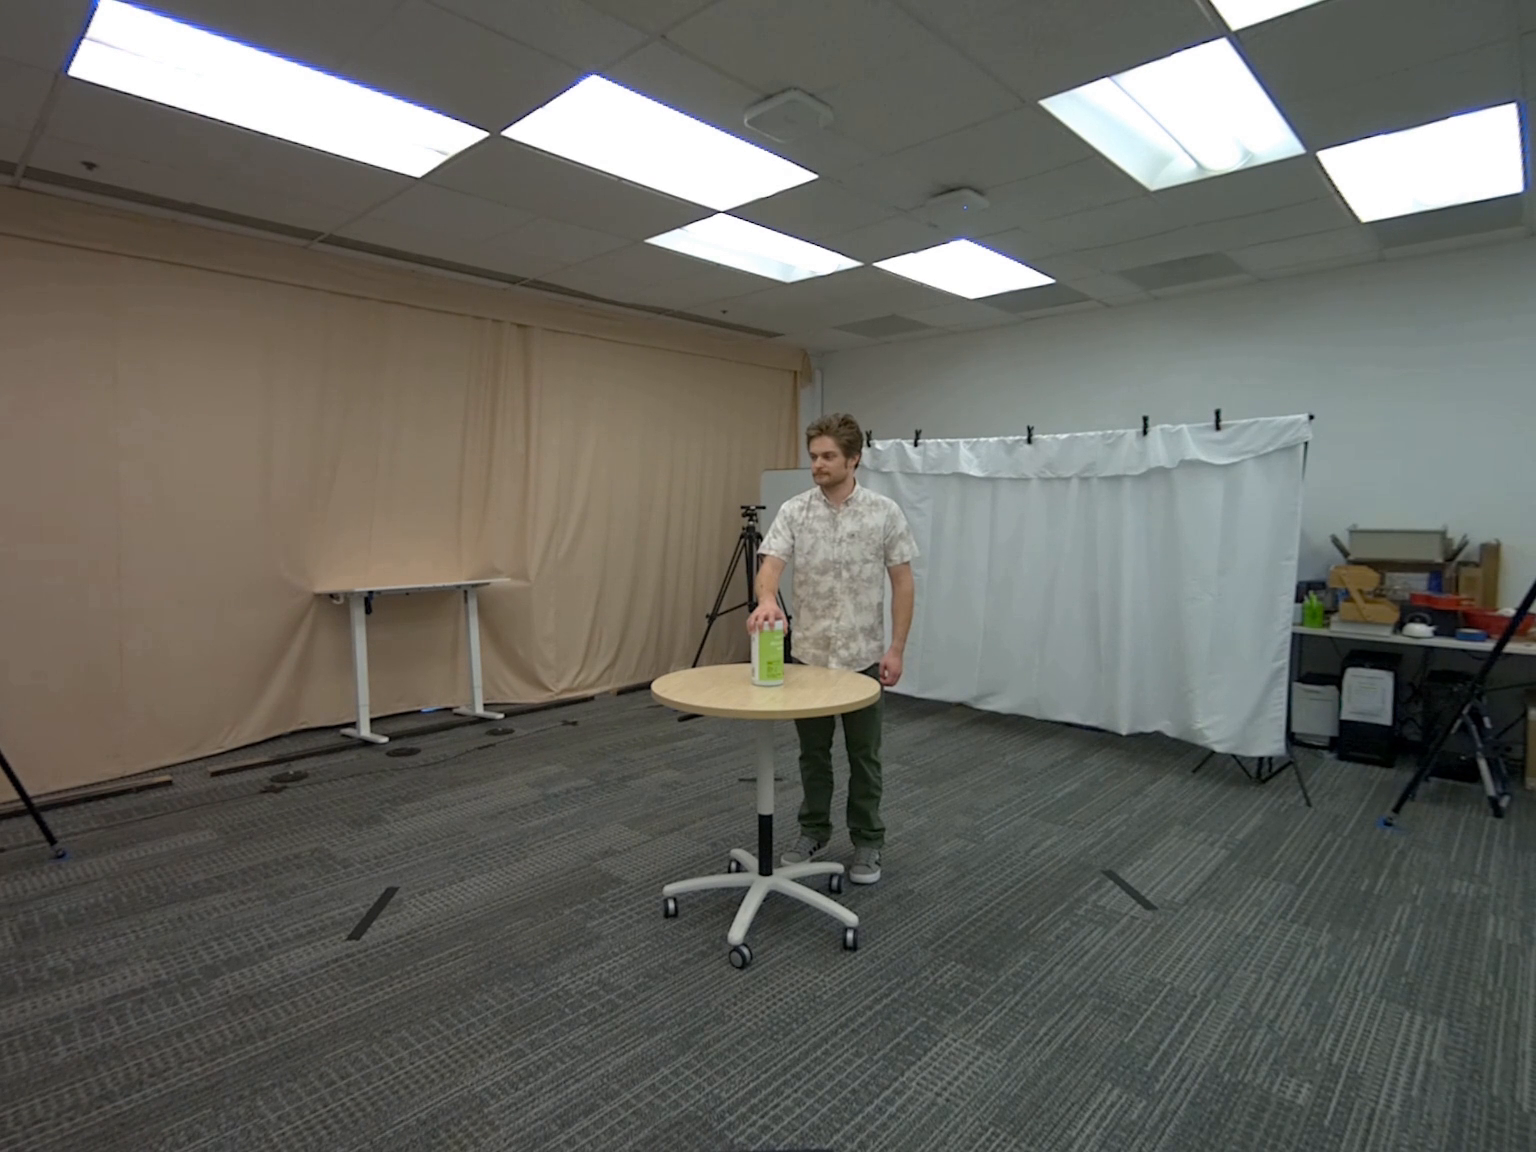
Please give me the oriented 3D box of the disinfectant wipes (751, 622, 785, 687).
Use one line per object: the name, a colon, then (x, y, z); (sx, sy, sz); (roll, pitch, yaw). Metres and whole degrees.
disinfectant wipes: (0.000, 0.259, 2.838); (0.118, 0.217, 0.118); (0, 4, -2)
